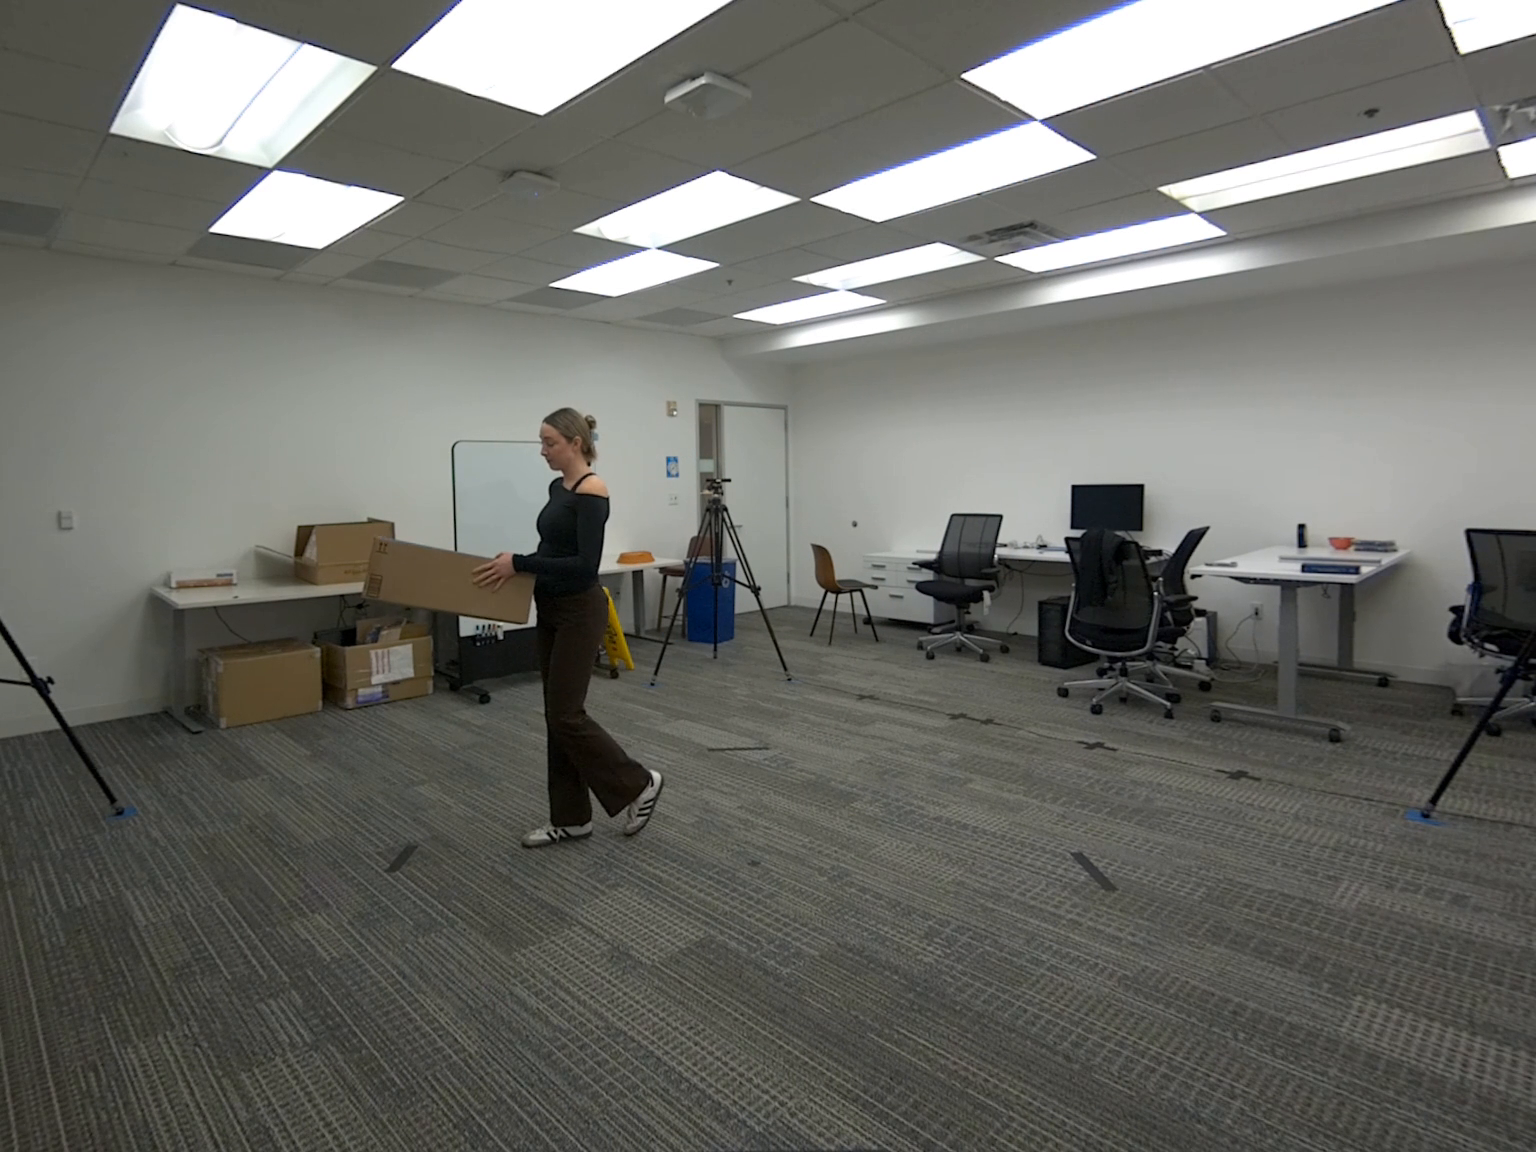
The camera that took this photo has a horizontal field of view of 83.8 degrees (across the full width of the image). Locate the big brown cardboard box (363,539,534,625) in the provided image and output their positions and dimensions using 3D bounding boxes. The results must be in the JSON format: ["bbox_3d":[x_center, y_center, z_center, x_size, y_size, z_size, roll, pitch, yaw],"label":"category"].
[{"bbox_3d":[-1.179,0.026,3.188,0.577,0.235,0.423,11,-9,-20],"label":"big brown cardboard box"}]
